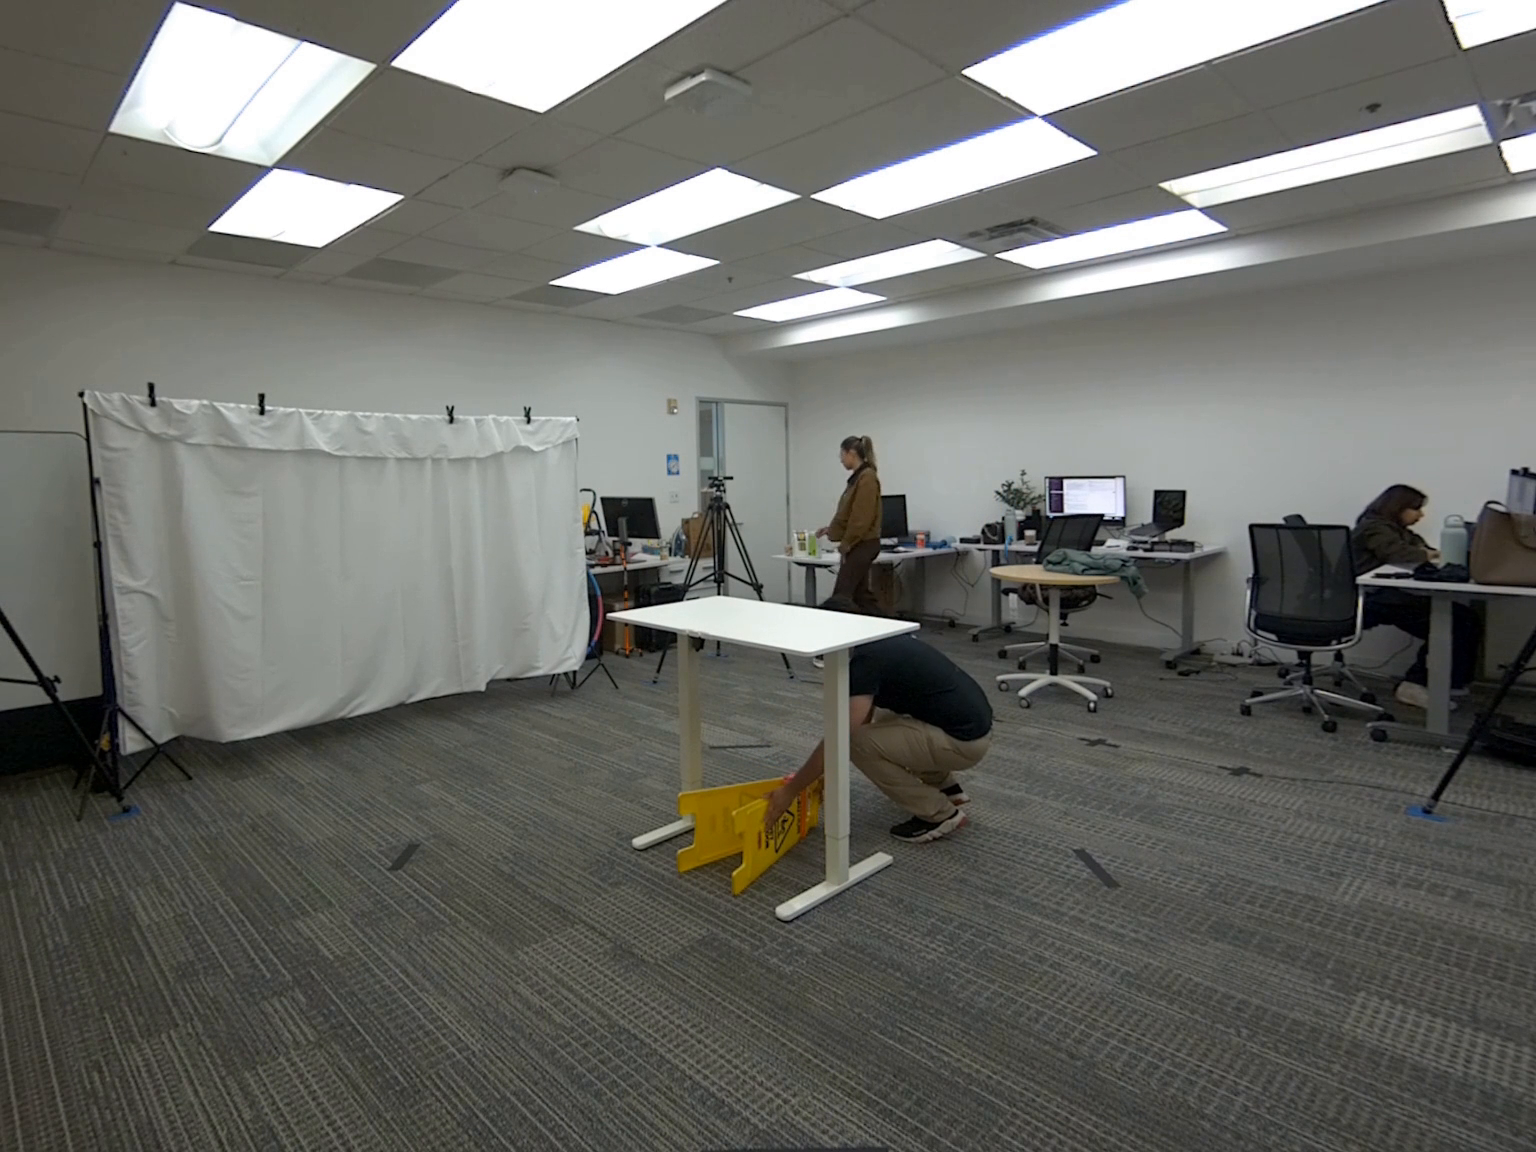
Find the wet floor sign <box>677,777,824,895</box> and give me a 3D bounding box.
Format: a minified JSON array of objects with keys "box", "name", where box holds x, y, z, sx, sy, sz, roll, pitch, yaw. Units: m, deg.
[{"box":[-0.014,0.904,3.172,0.298,0.281,0.628,4,4,40],"name":"wet floor sign"}]
